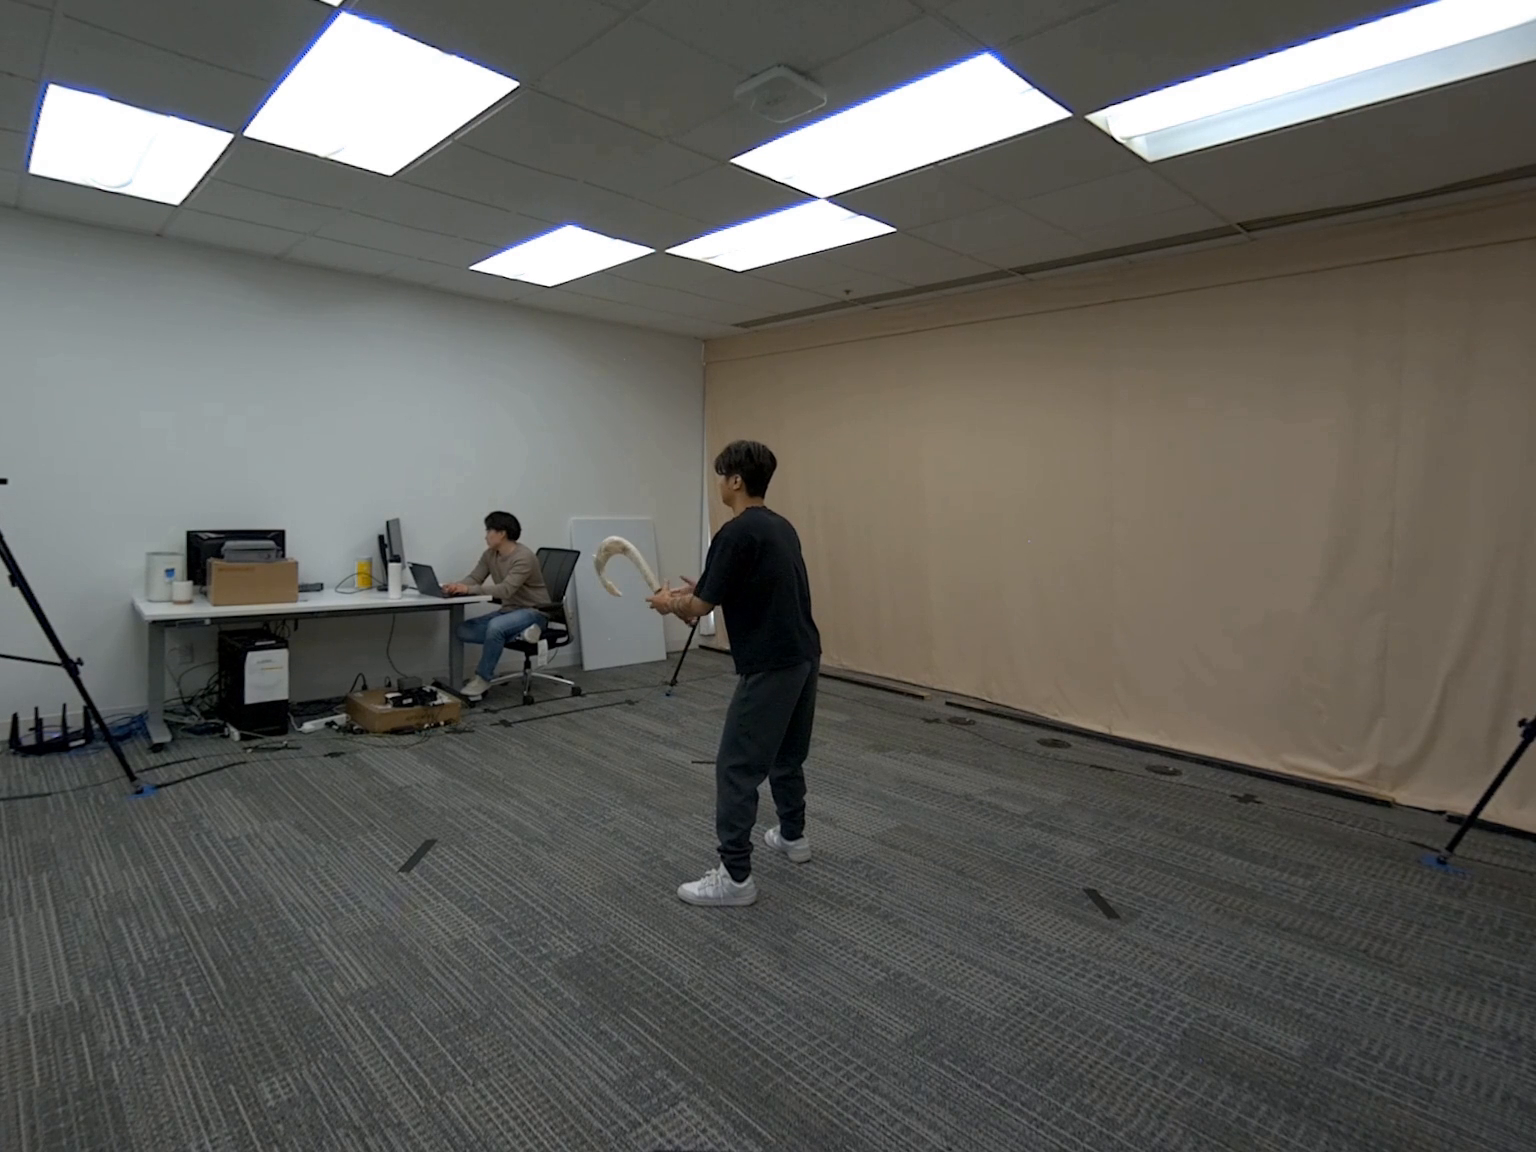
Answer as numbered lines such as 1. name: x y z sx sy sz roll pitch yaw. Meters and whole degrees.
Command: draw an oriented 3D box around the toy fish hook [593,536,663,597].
1. toy fish hook: -0.473 0.094 3.273 0.515 0.223 0.048 42 29 15
